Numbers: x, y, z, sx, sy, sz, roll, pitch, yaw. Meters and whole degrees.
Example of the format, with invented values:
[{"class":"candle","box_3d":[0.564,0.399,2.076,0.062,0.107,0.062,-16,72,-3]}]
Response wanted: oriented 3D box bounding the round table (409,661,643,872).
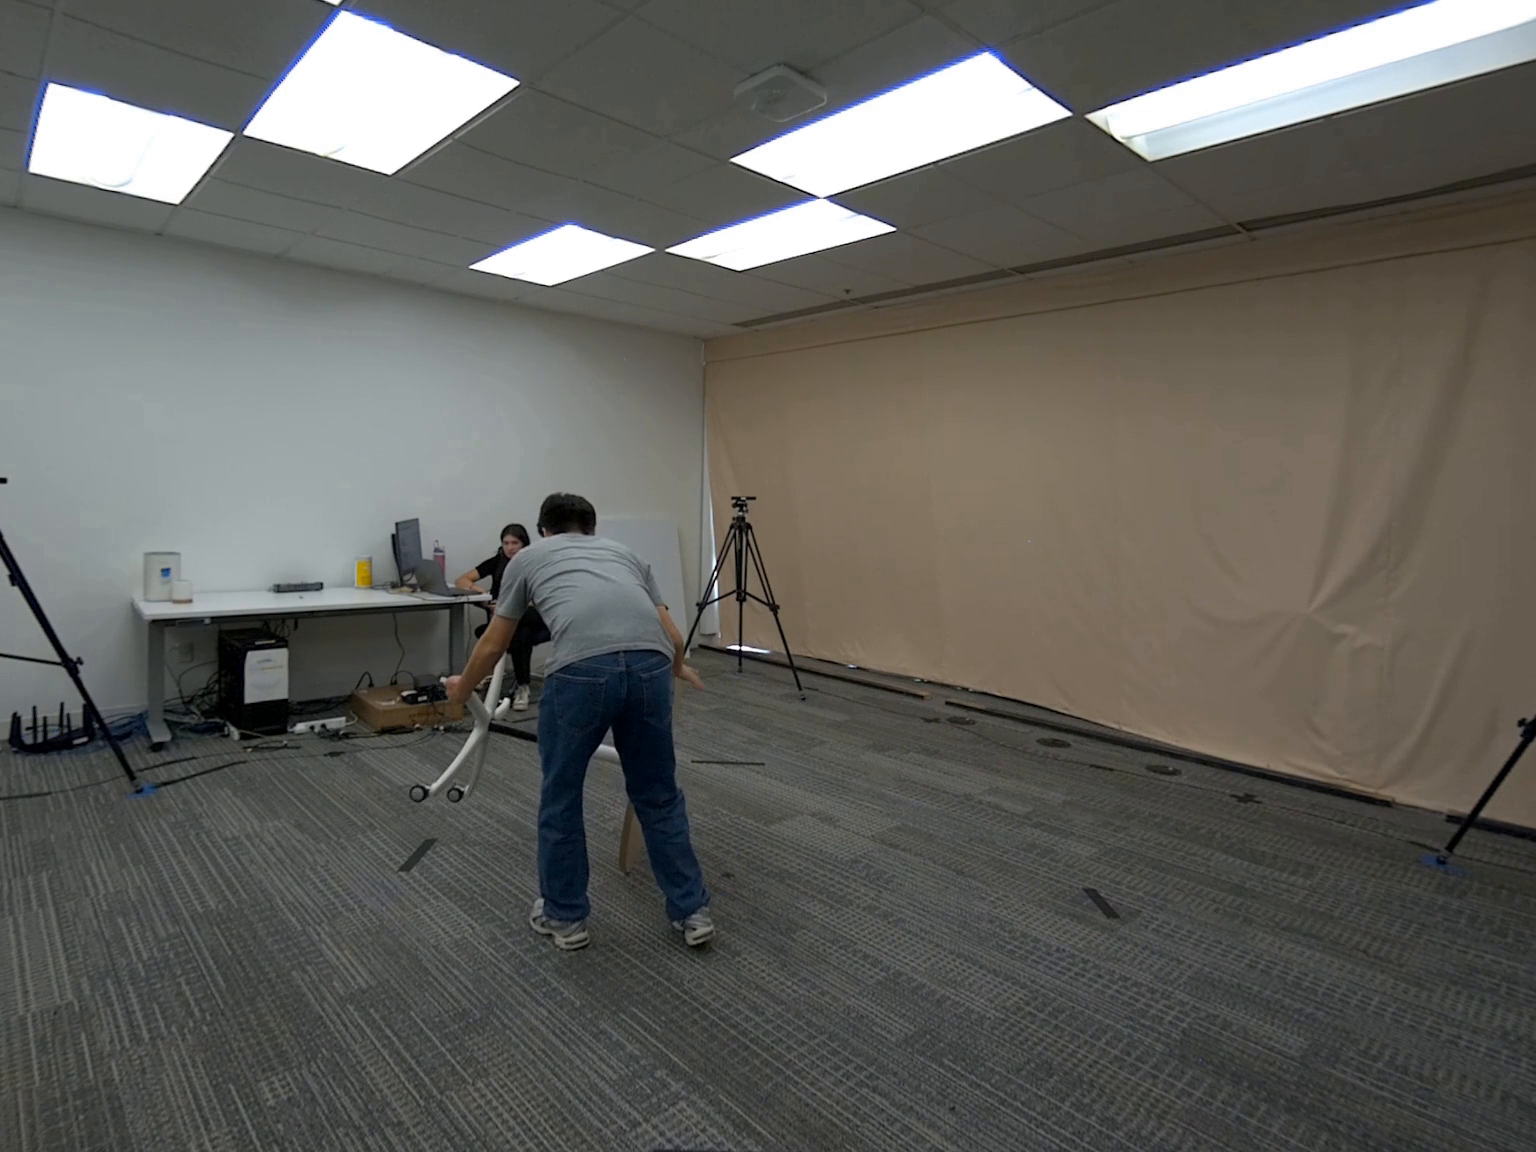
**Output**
[{"class":"round table","box_3d":[-0.816,0.633,3.211,0.797,0.762,0.763,13,5,4]}]
